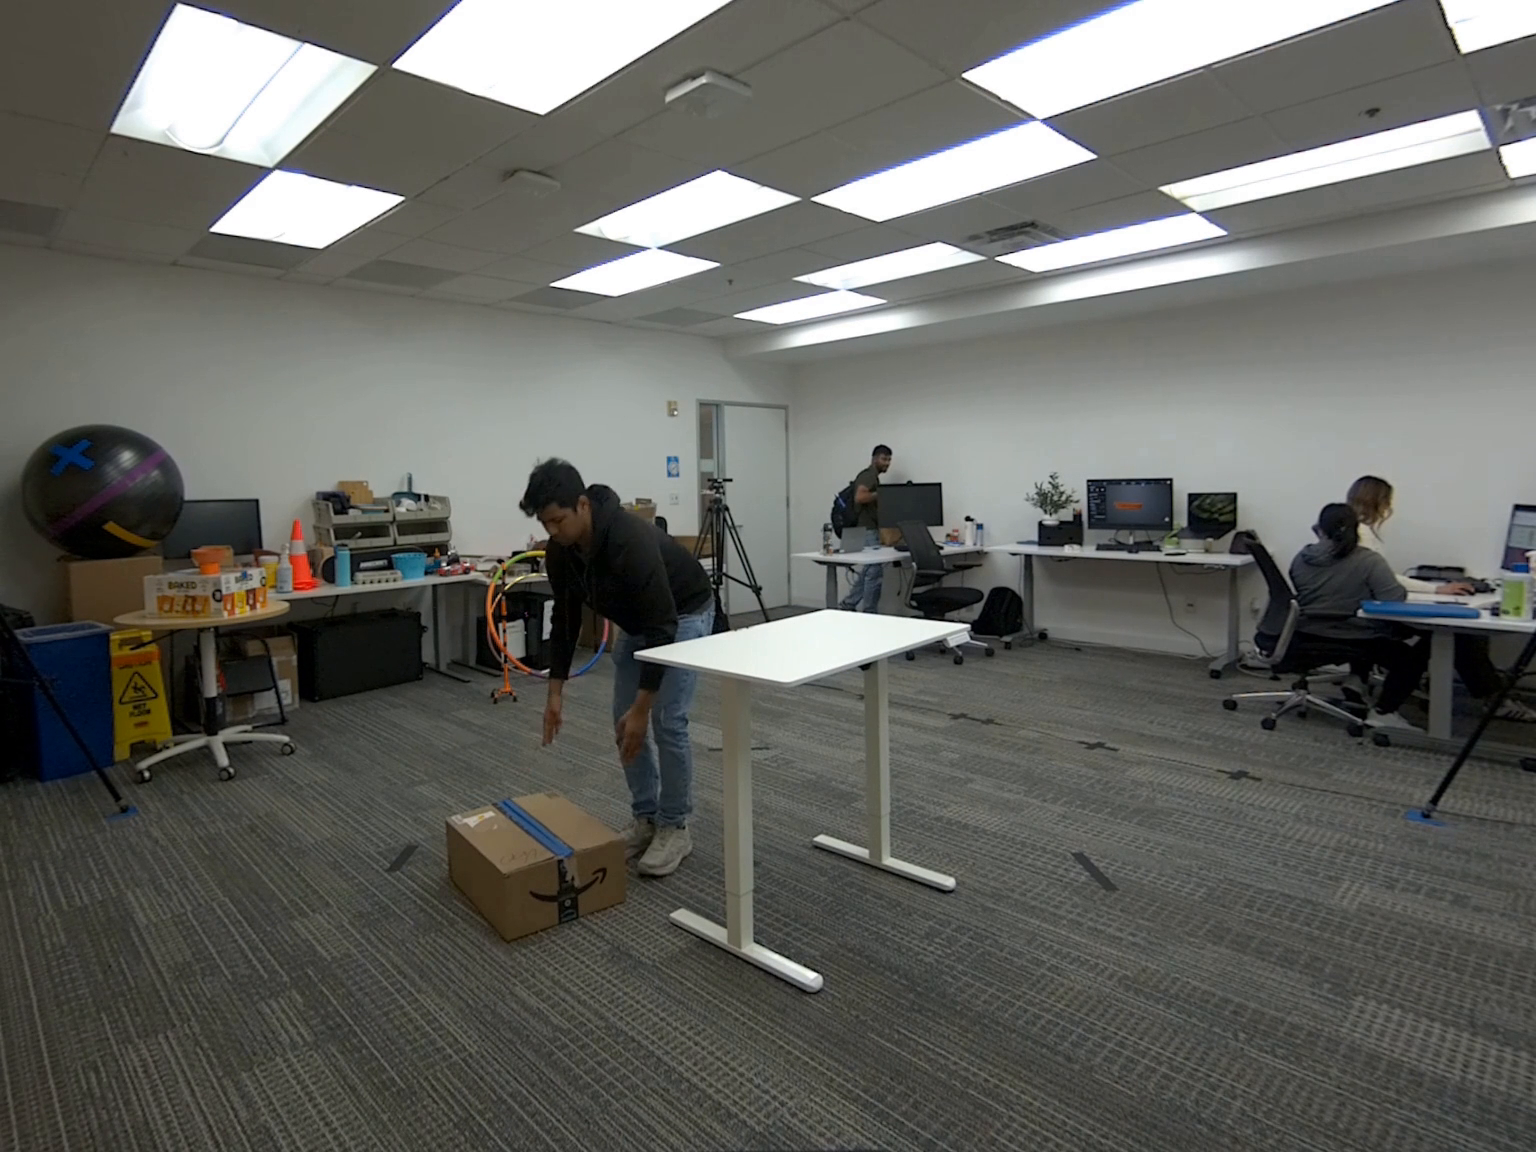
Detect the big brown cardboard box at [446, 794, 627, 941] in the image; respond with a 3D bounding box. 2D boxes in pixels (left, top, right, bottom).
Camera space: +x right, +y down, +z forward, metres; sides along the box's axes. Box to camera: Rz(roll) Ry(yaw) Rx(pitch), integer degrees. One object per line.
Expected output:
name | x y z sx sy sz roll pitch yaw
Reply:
big brown cardboard box | -0.809 0.968 2.943 0.407 0.232 0.607 -6 9 -37
